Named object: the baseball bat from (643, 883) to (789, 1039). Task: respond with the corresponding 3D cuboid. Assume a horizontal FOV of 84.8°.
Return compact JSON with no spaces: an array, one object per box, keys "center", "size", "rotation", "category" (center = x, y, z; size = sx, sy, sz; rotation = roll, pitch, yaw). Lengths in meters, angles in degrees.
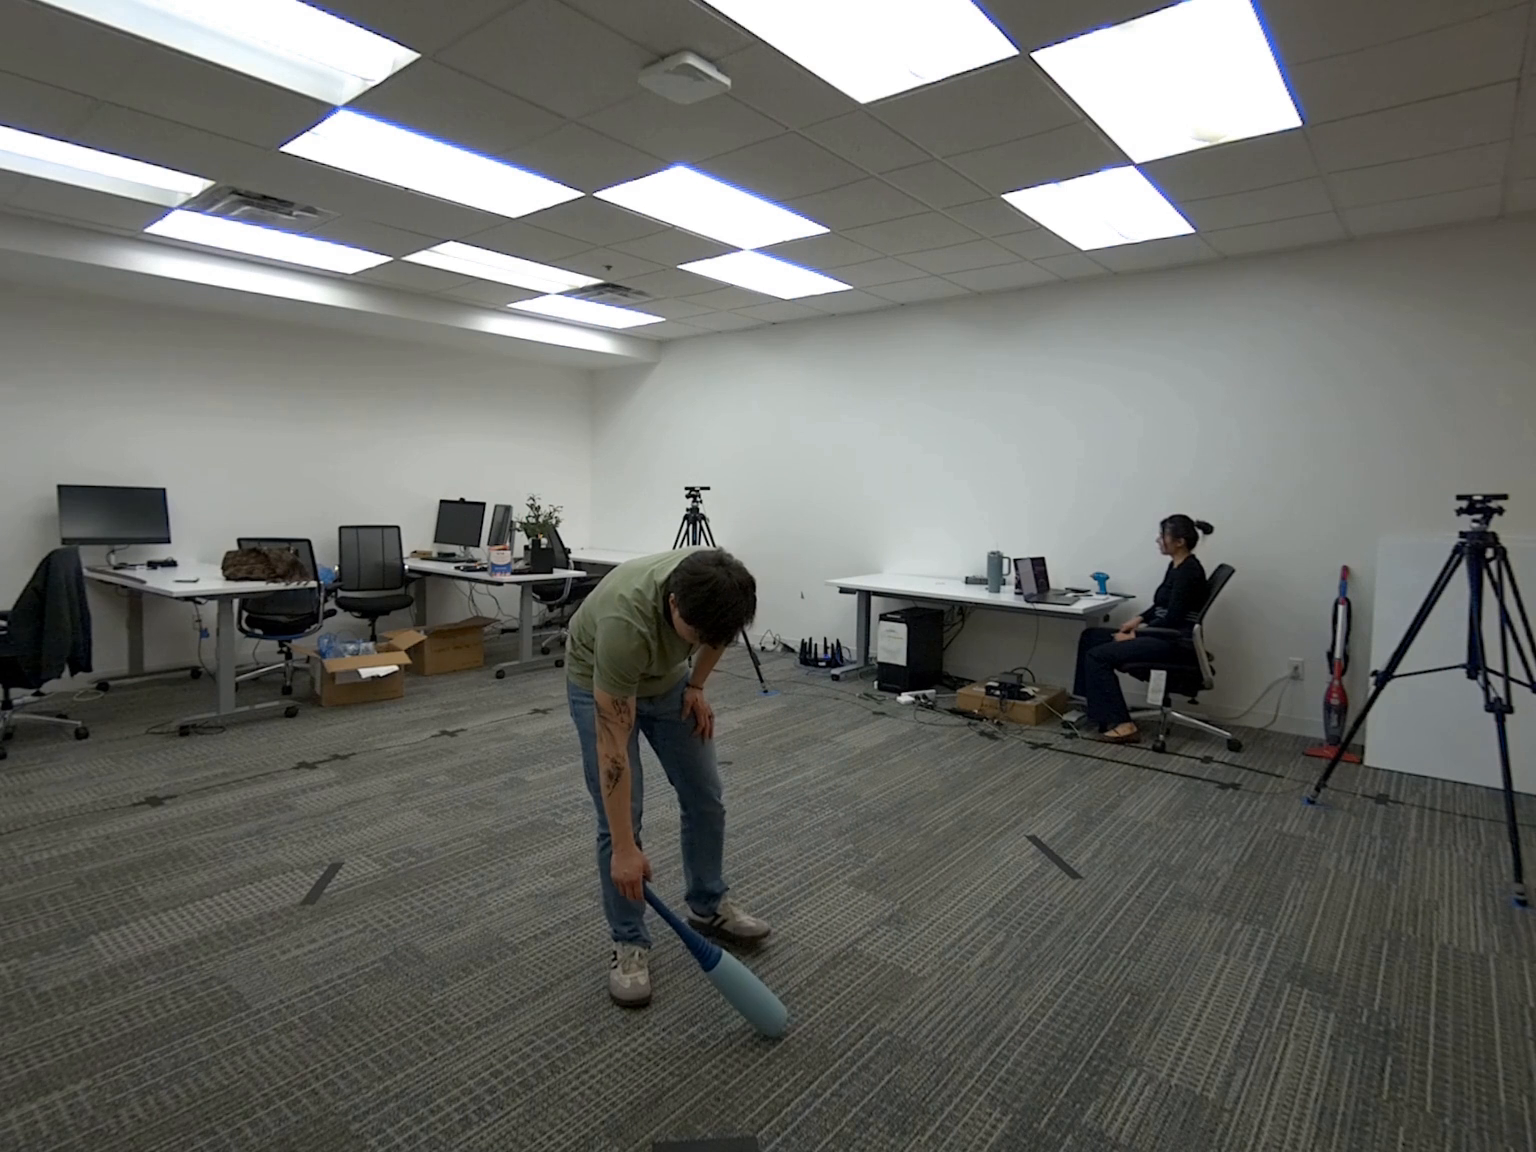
[{"center":[-0.157,0.946,2.136],"size":[0.089,0.536,0.090],"rotation":[-41,8,7],"category":"baseball bat"}]
